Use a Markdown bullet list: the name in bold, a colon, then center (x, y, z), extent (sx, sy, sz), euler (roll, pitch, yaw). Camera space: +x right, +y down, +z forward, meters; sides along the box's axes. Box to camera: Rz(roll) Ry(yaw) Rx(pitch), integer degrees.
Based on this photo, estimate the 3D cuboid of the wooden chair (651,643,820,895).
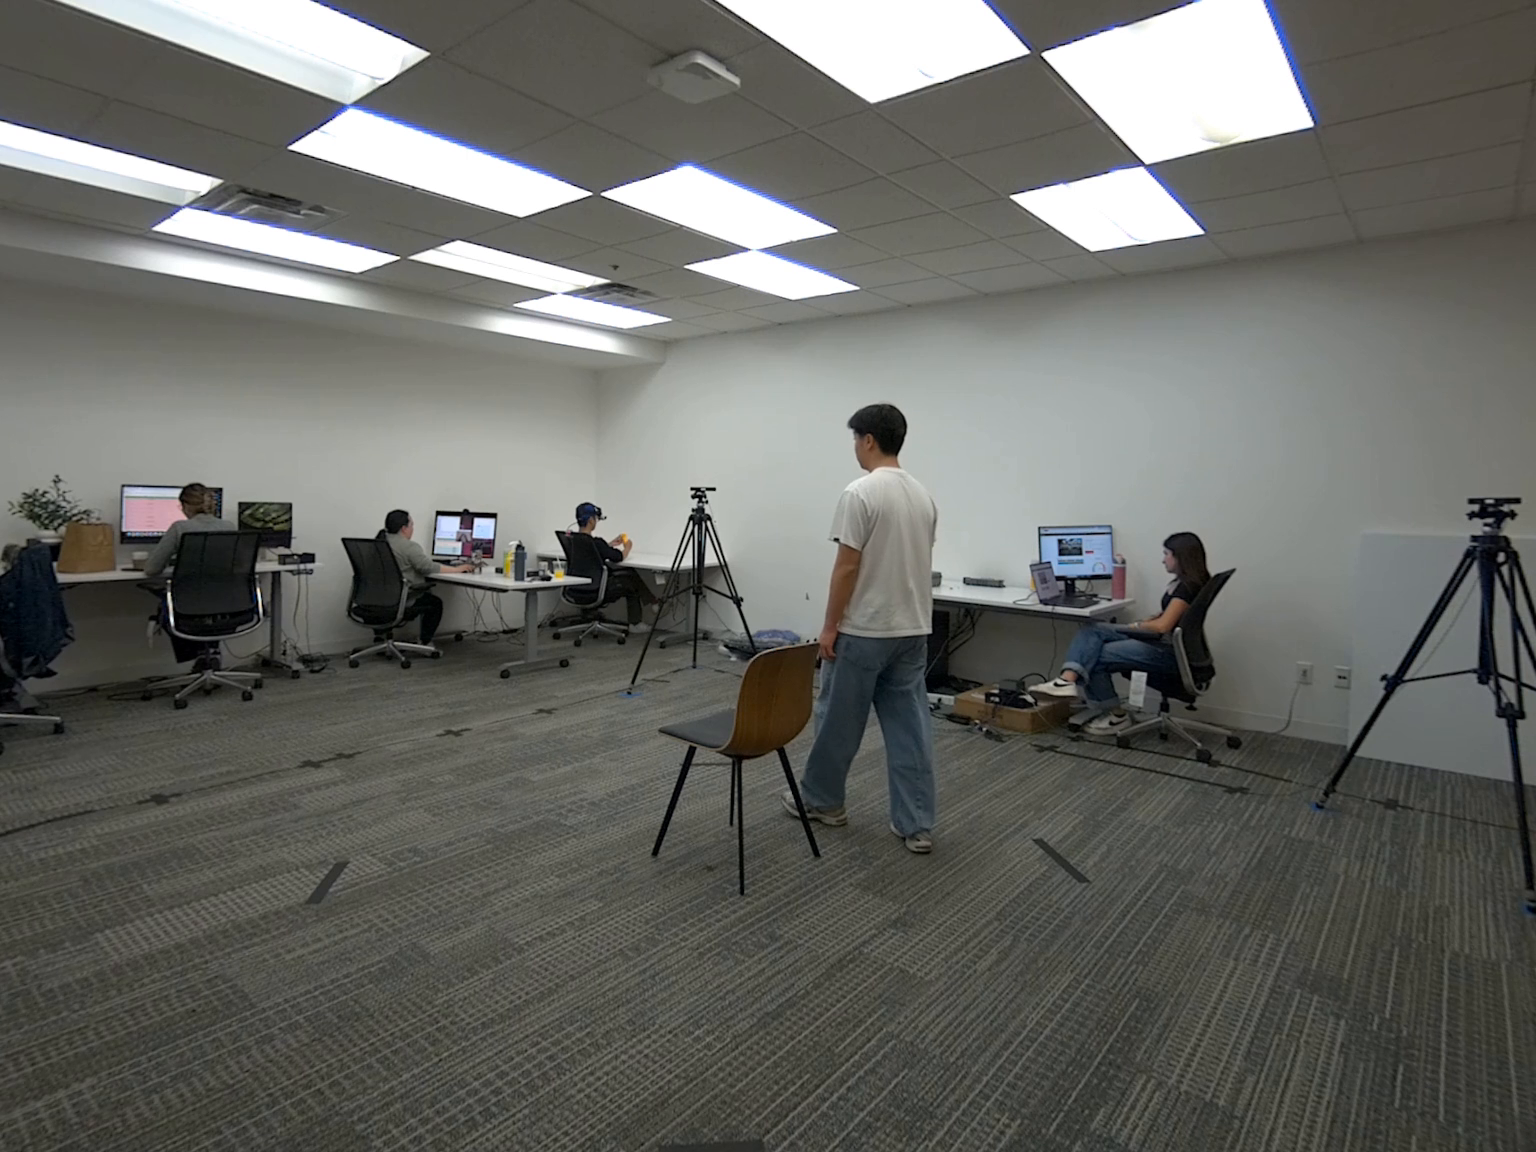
- **wooden chair**: center (-0.126, 0.635, 3.191), extent (0.542, 0.873, 0.463), euler (9, 7, 40)
